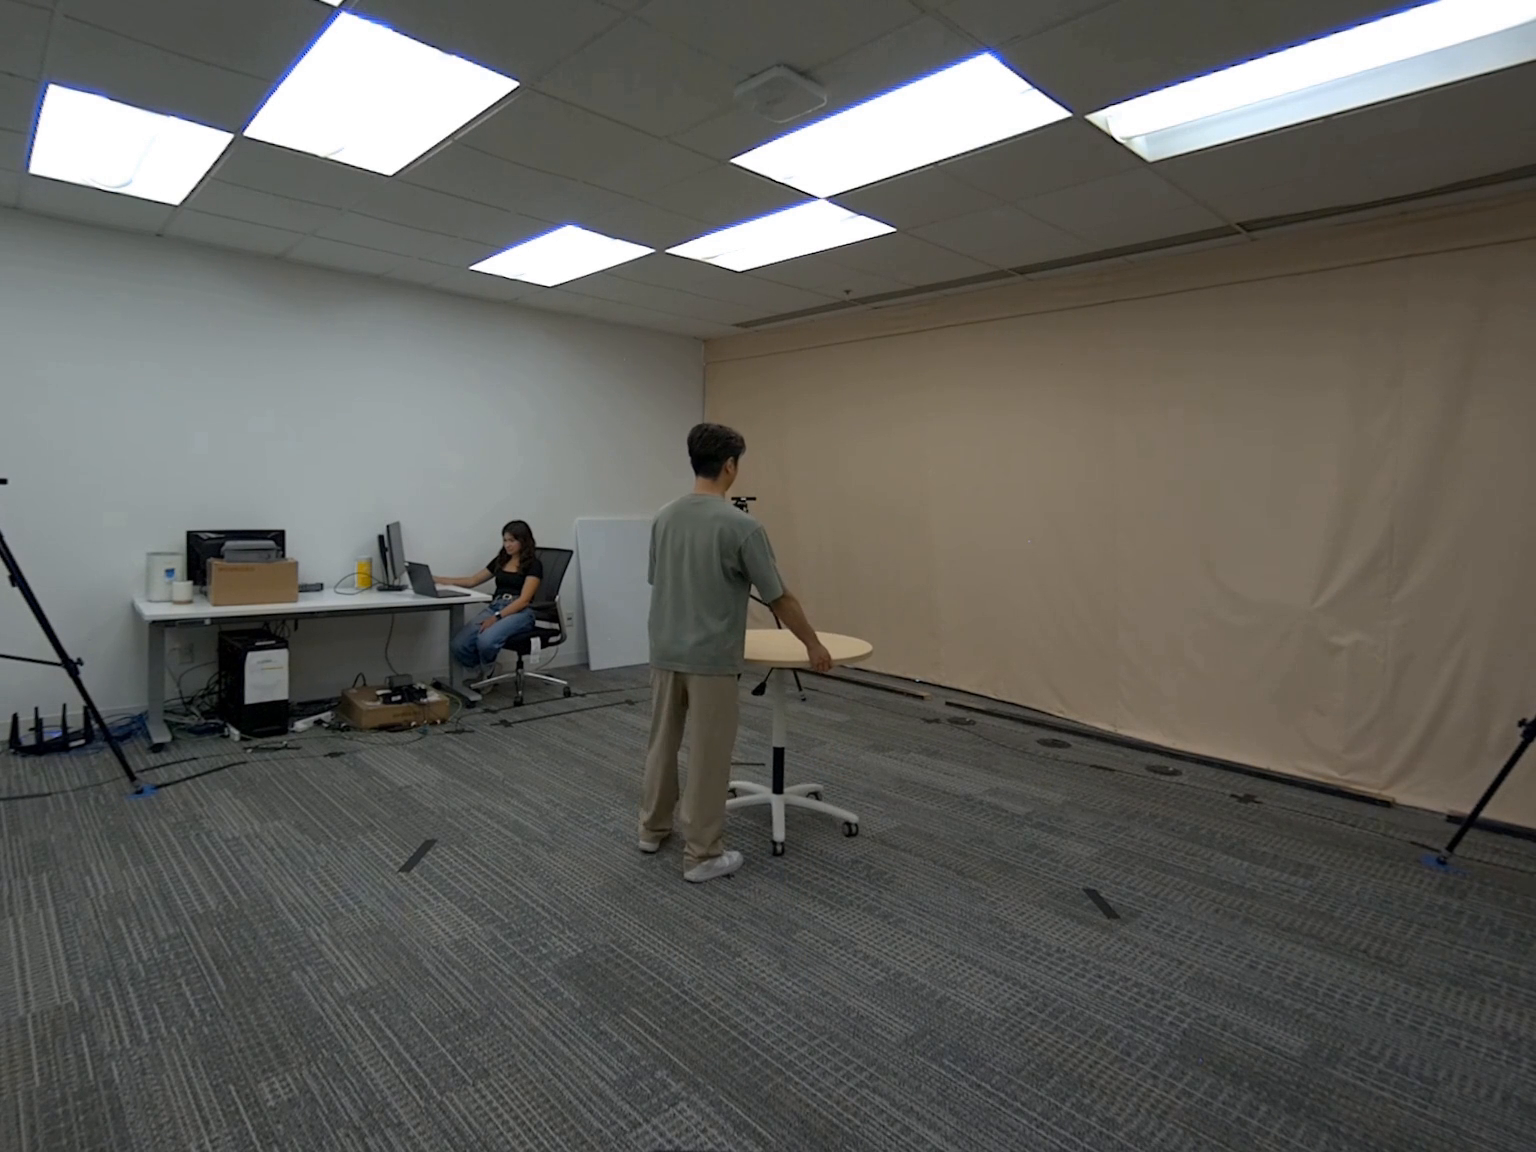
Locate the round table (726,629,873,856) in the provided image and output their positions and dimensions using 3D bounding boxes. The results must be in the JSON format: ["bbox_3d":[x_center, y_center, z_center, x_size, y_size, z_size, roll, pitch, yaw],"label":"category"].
[{"bbox_3d":[0.050,0.675,3.601,0.784,0.784,0.788,1,4,-1],"label":"round table"}]
